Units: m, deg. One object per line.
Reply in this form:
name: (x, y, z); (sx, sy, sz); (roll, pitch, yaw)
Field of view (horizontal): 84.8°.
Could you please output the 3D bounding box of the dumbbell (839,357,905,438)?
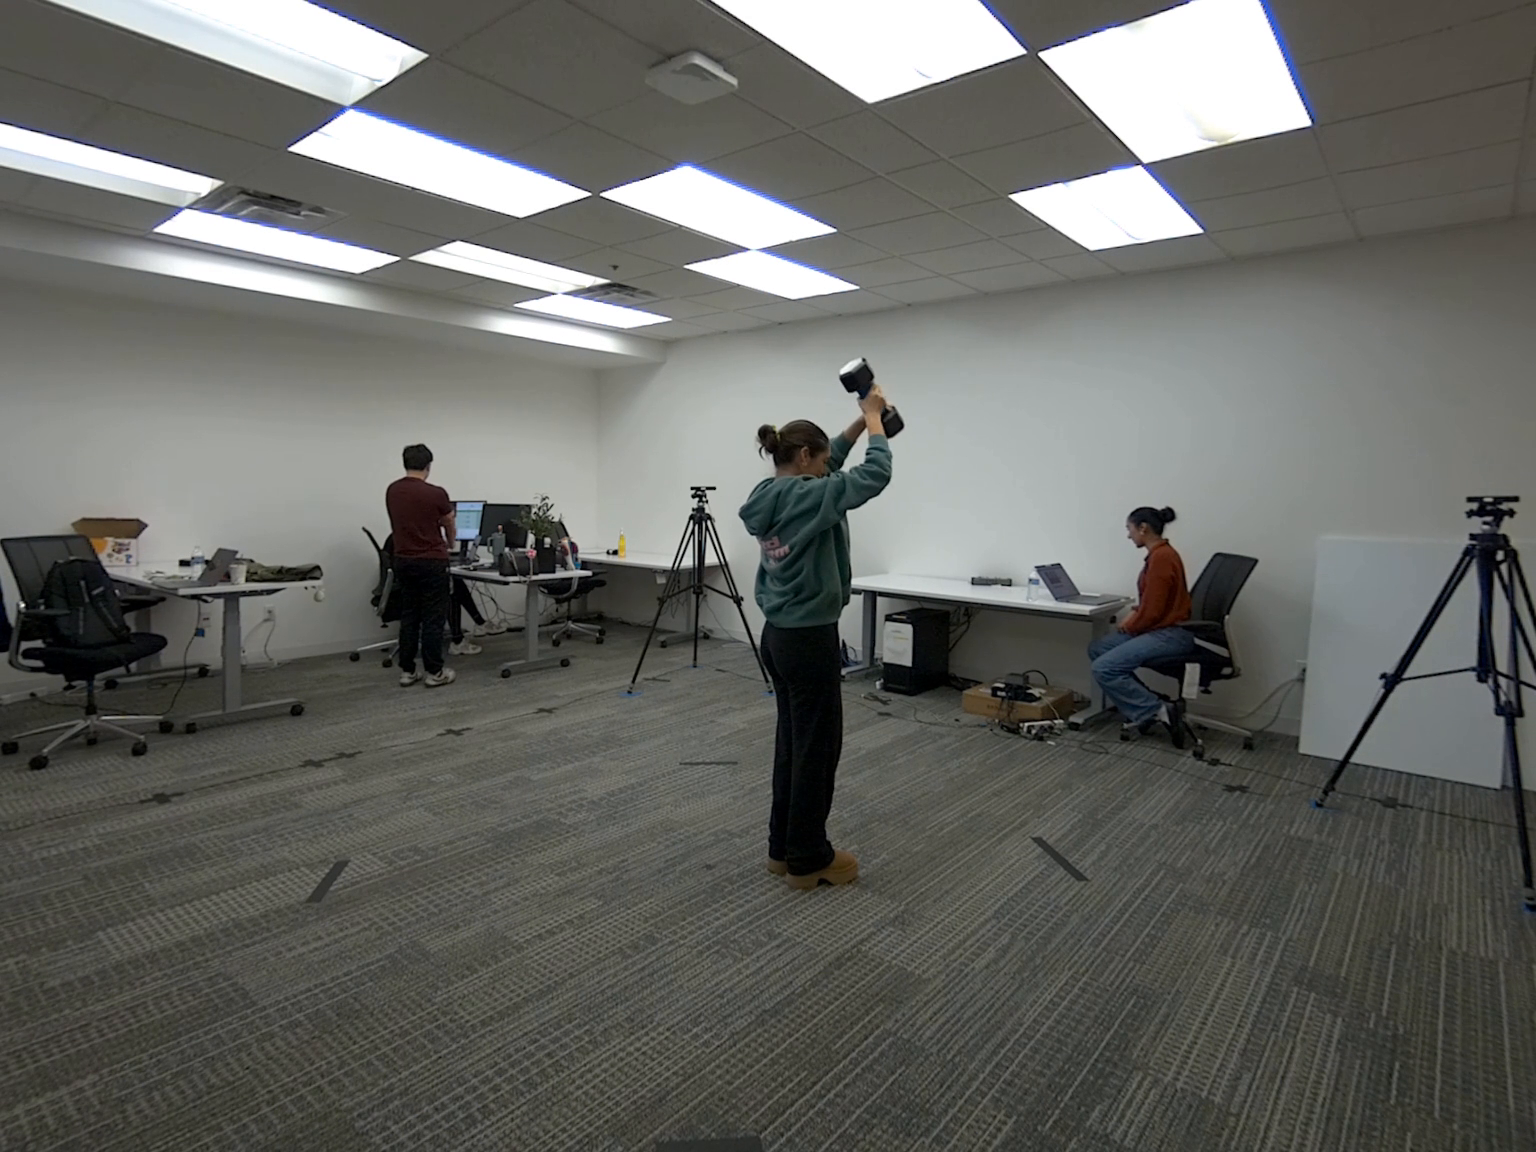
dumbbell: (0.358, -0.621, 3.012); (0.123, 0.288, 0.111); (-39, 14, -5)
